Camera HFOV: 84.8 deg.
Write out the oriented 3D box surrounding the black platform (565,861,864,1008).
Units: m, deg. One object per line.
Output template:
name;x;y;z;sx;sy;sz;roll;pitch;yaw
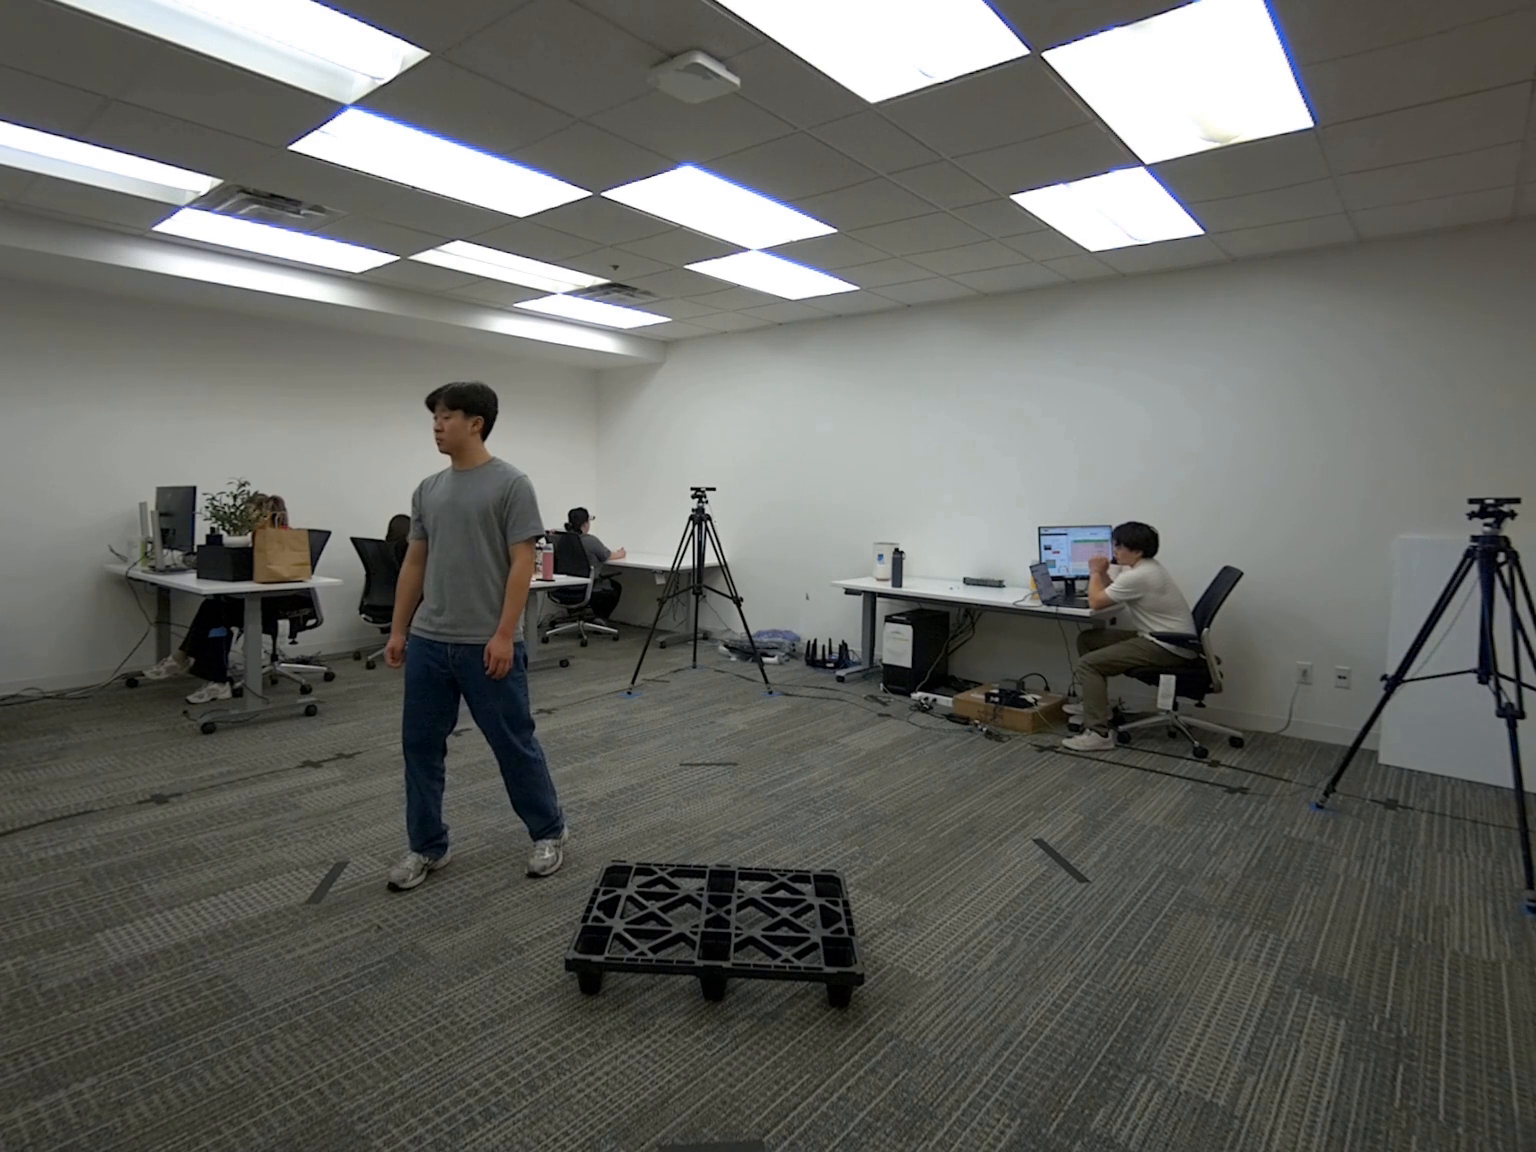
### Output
black platform;-0.159;1.053;2.538;0.808;0.143;0.606;2;5;2
